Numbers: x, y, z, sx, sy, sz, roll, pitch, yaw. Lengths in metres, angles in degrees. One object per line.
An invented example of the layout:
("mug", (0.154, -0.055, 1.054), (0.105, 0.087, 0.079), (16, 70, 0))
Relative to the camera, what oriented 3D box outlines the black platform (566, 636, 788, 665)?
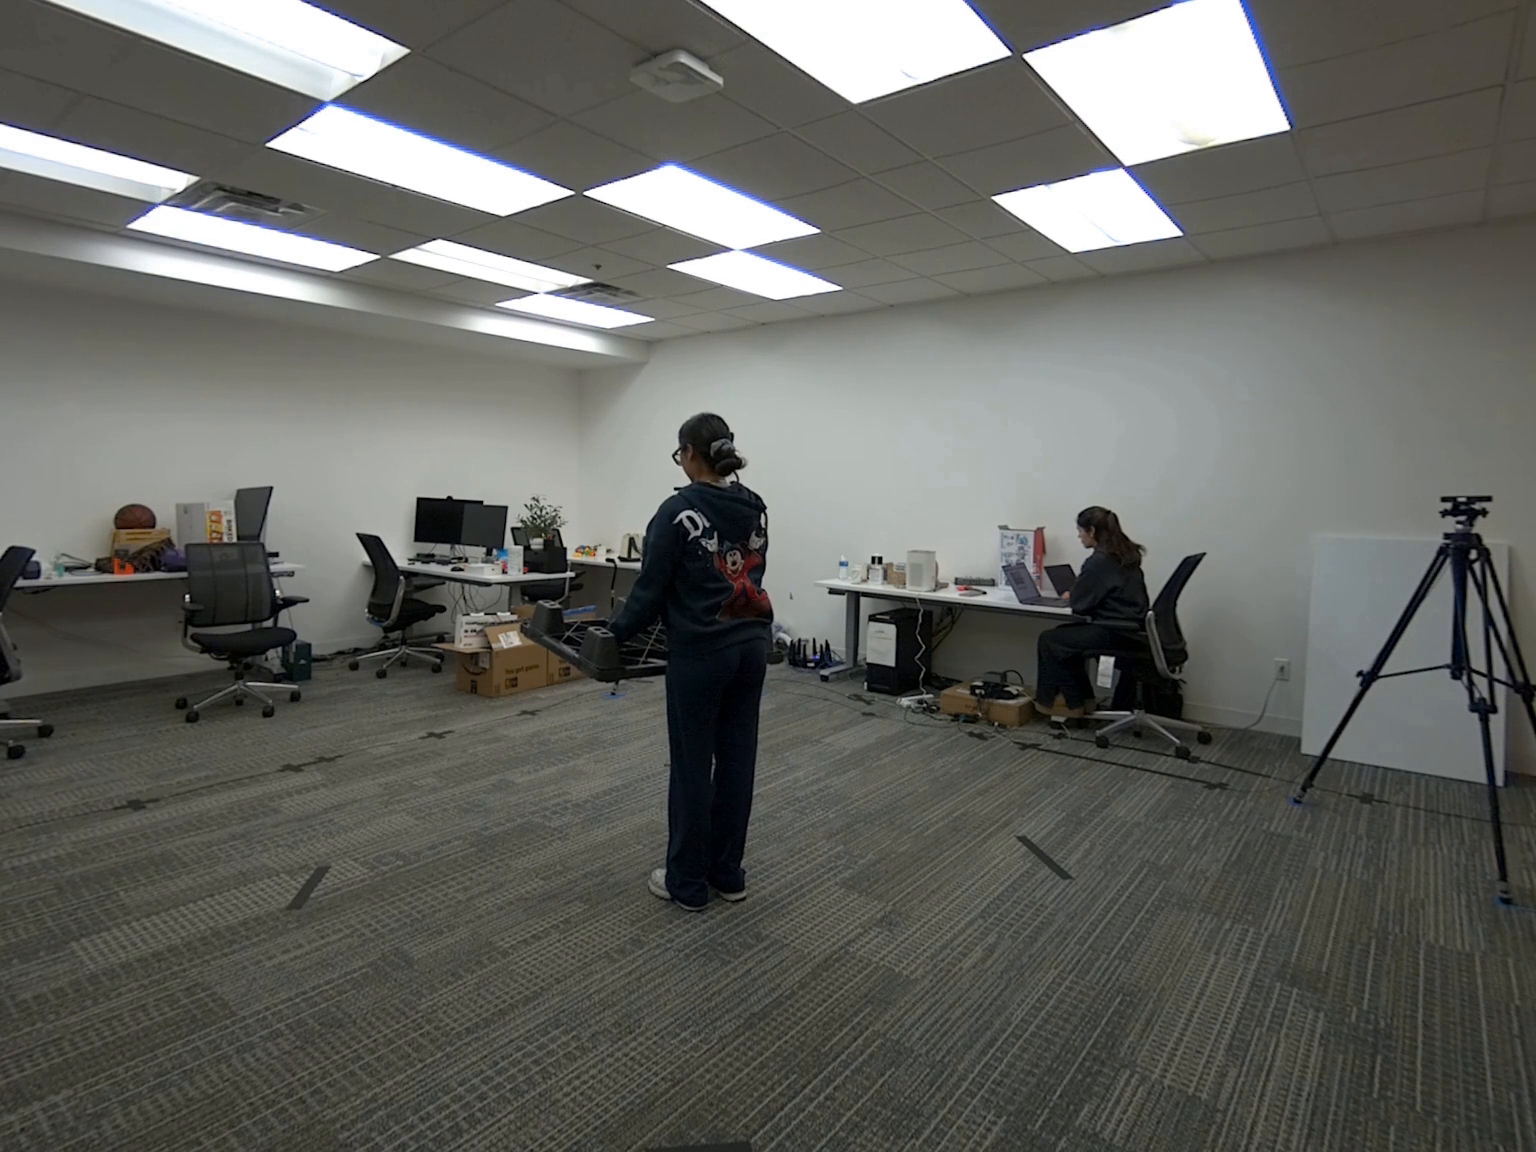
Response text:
("black platform", (-0.430, 0.200, 3.130), (0.781, 0.142, 0.629), (-2, 13, -40))
